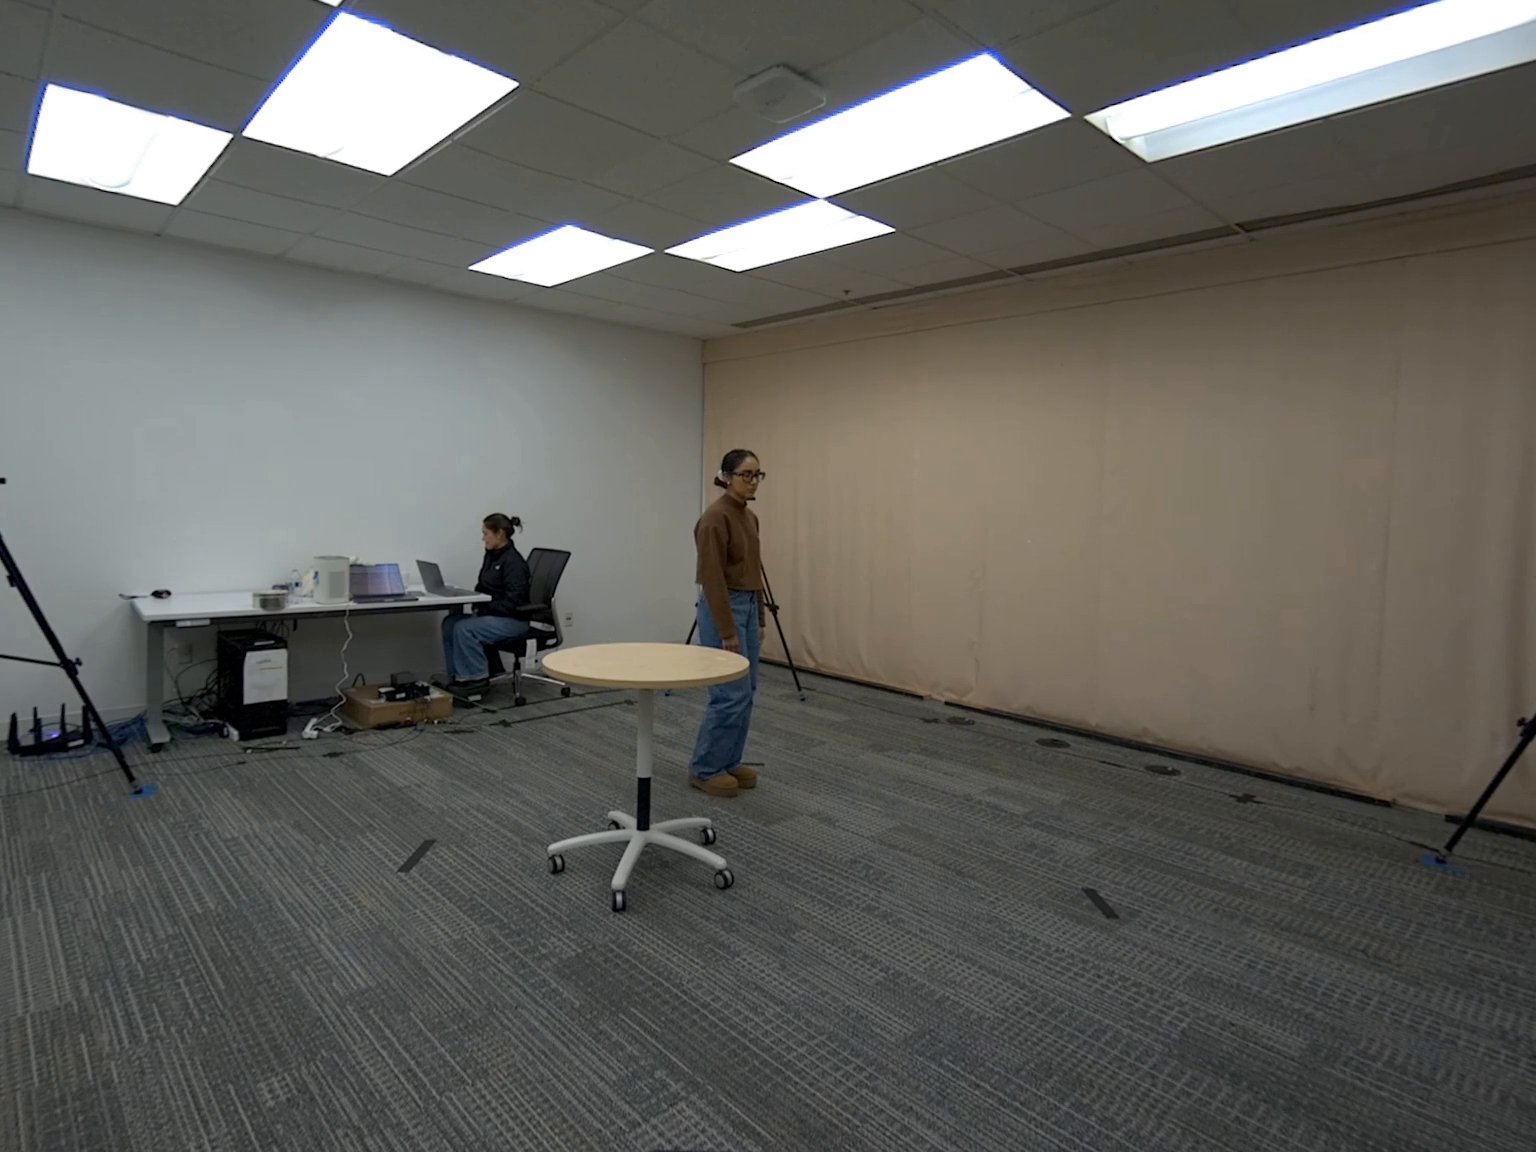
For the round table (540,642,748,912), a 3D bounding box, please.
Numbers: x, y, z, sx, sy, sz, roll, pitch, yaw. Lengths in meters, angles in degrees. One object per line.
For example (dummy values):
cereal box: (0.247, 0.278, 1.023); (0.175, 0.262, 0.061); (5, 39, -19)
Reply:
round table: (-0.467, 0.706, 3.158); (0.763, 0.792, 0.766); (1, 4, -1)
